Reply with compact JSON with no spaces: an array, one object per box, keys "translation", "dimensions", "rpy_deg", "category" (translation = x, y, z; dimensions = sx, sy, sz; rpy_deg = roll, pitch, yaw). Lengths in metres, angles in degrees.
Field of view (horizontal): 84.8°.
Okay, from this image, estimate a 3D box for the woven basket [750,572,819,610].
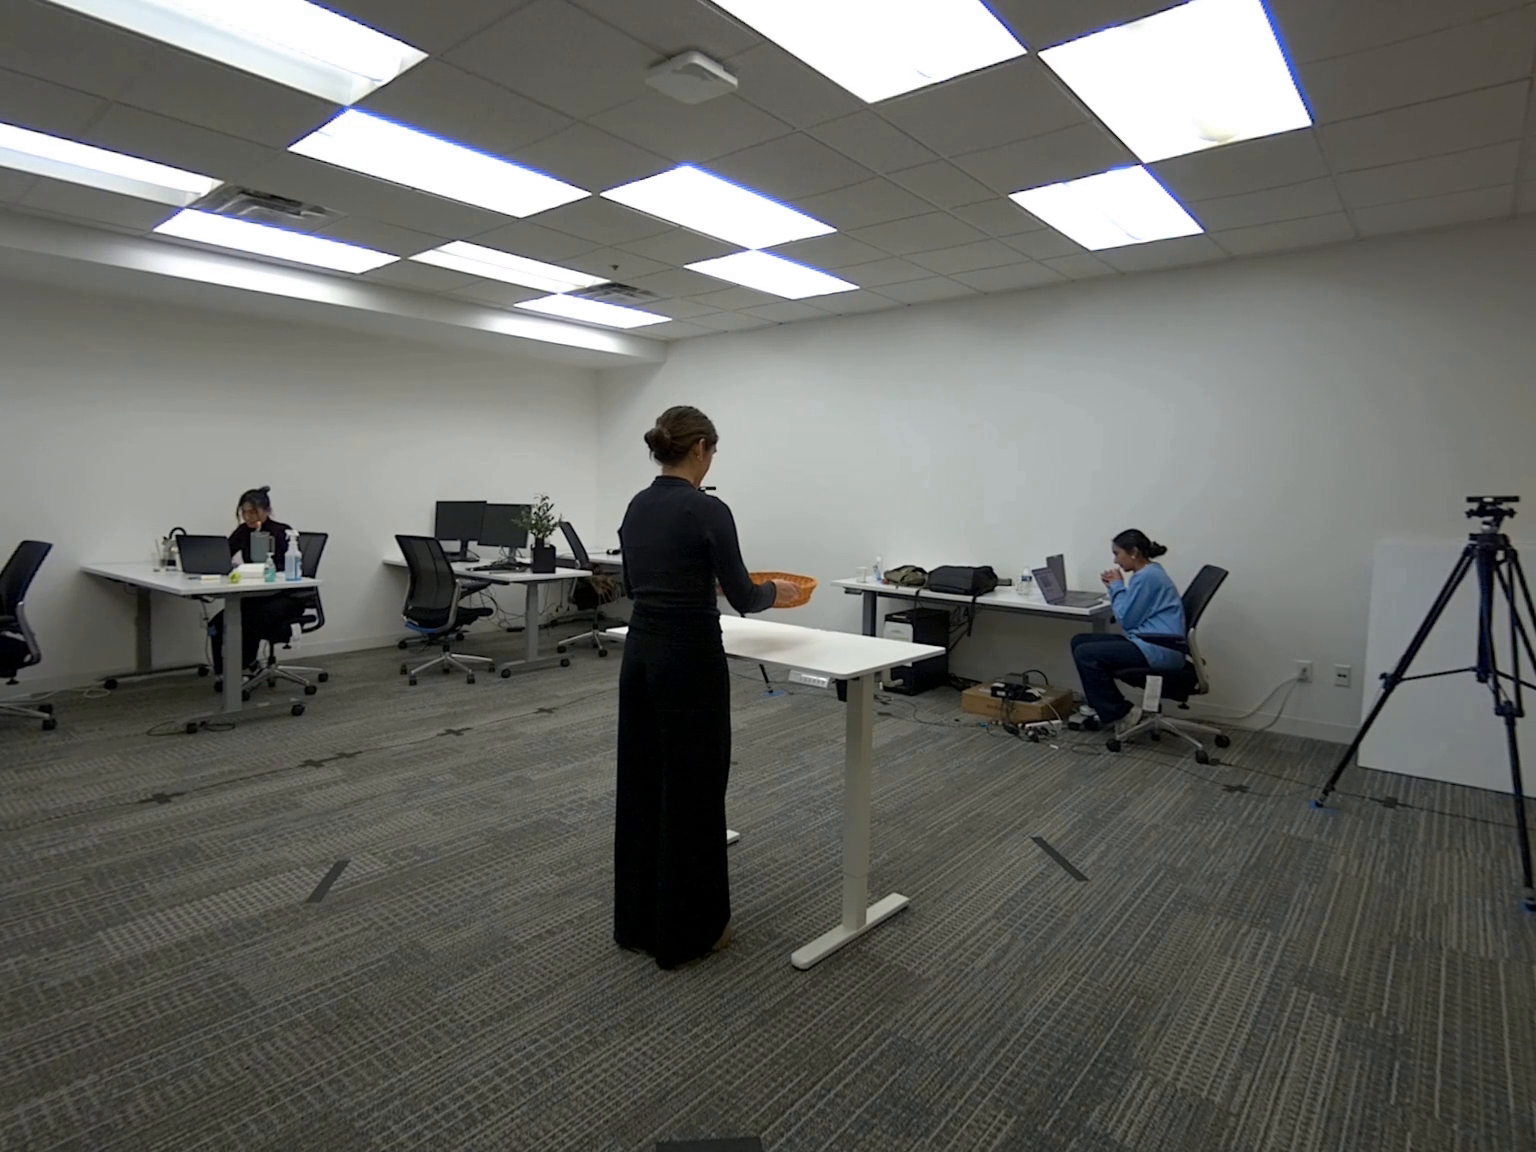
[{"translation":[-0.017,0.054,2.839],"dimensions":[0.246,0.073,0.362],"rpy_deg":[-9,12,-35],"category":"woven basket"}]
